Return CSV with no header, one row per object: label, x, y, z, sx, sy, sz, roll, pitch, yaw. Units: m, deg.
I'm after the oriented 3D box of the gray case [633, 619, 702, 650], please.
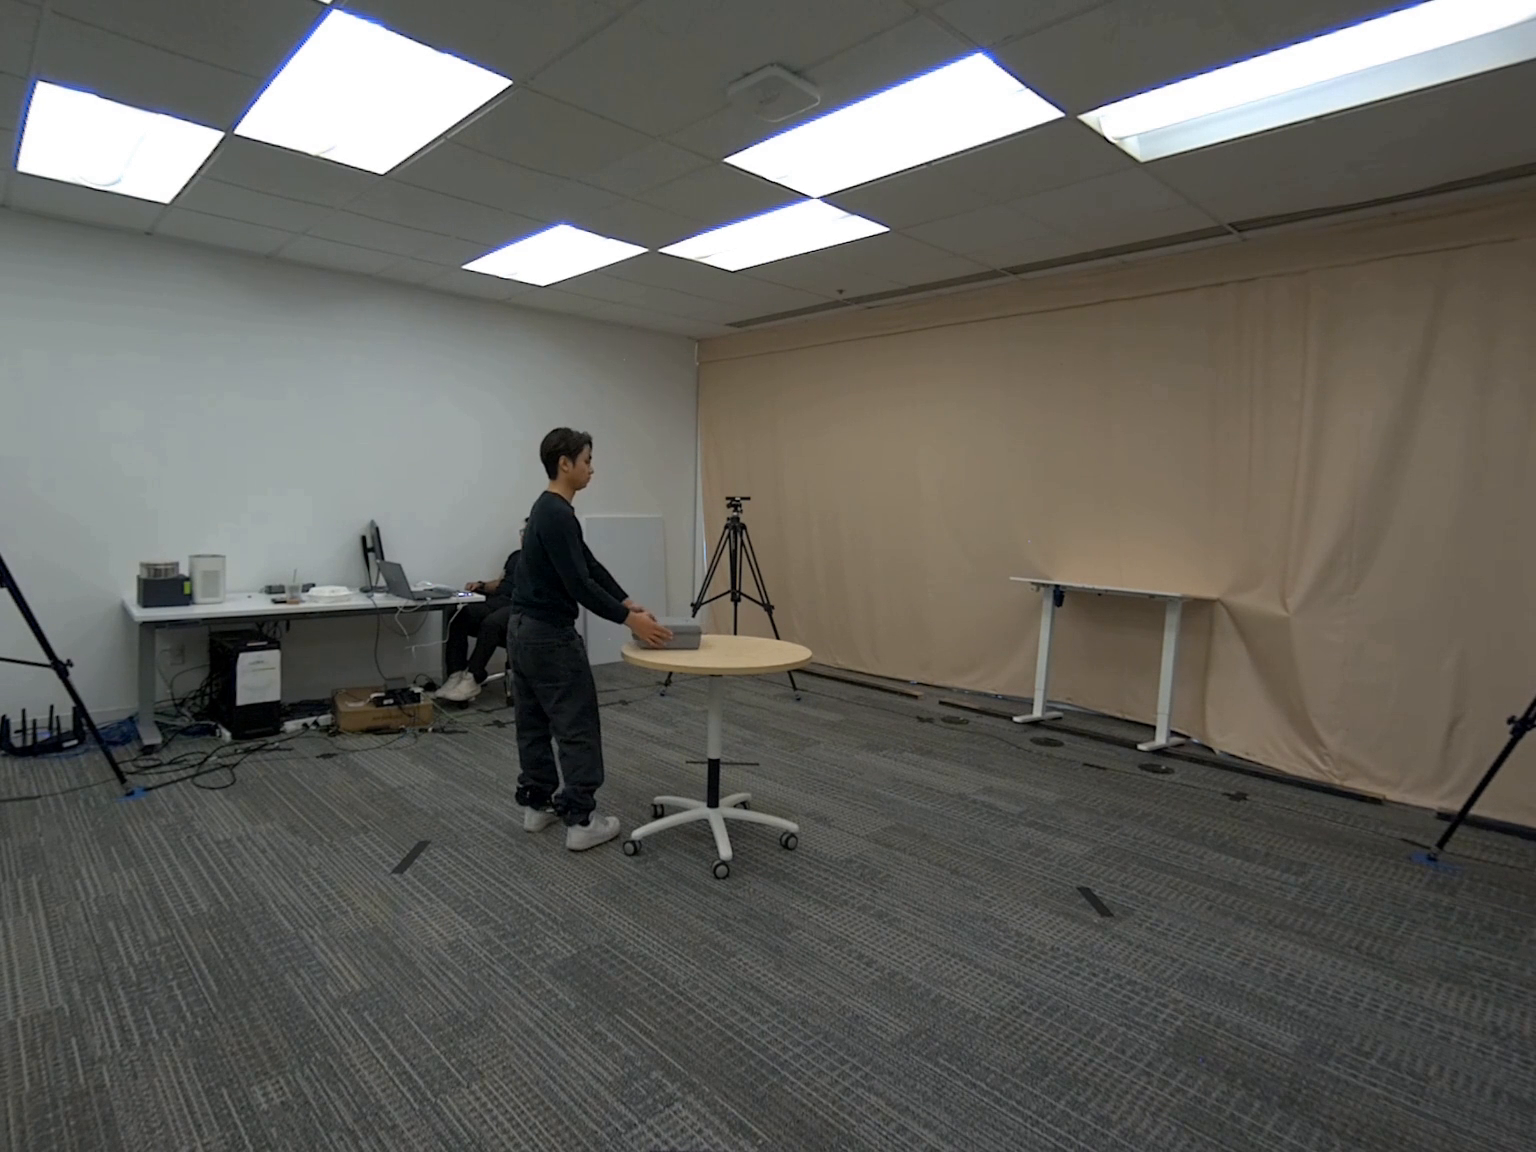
gray case,-0.419,0.229,3.466,0.259,0.104,0.259,1,5,-8
